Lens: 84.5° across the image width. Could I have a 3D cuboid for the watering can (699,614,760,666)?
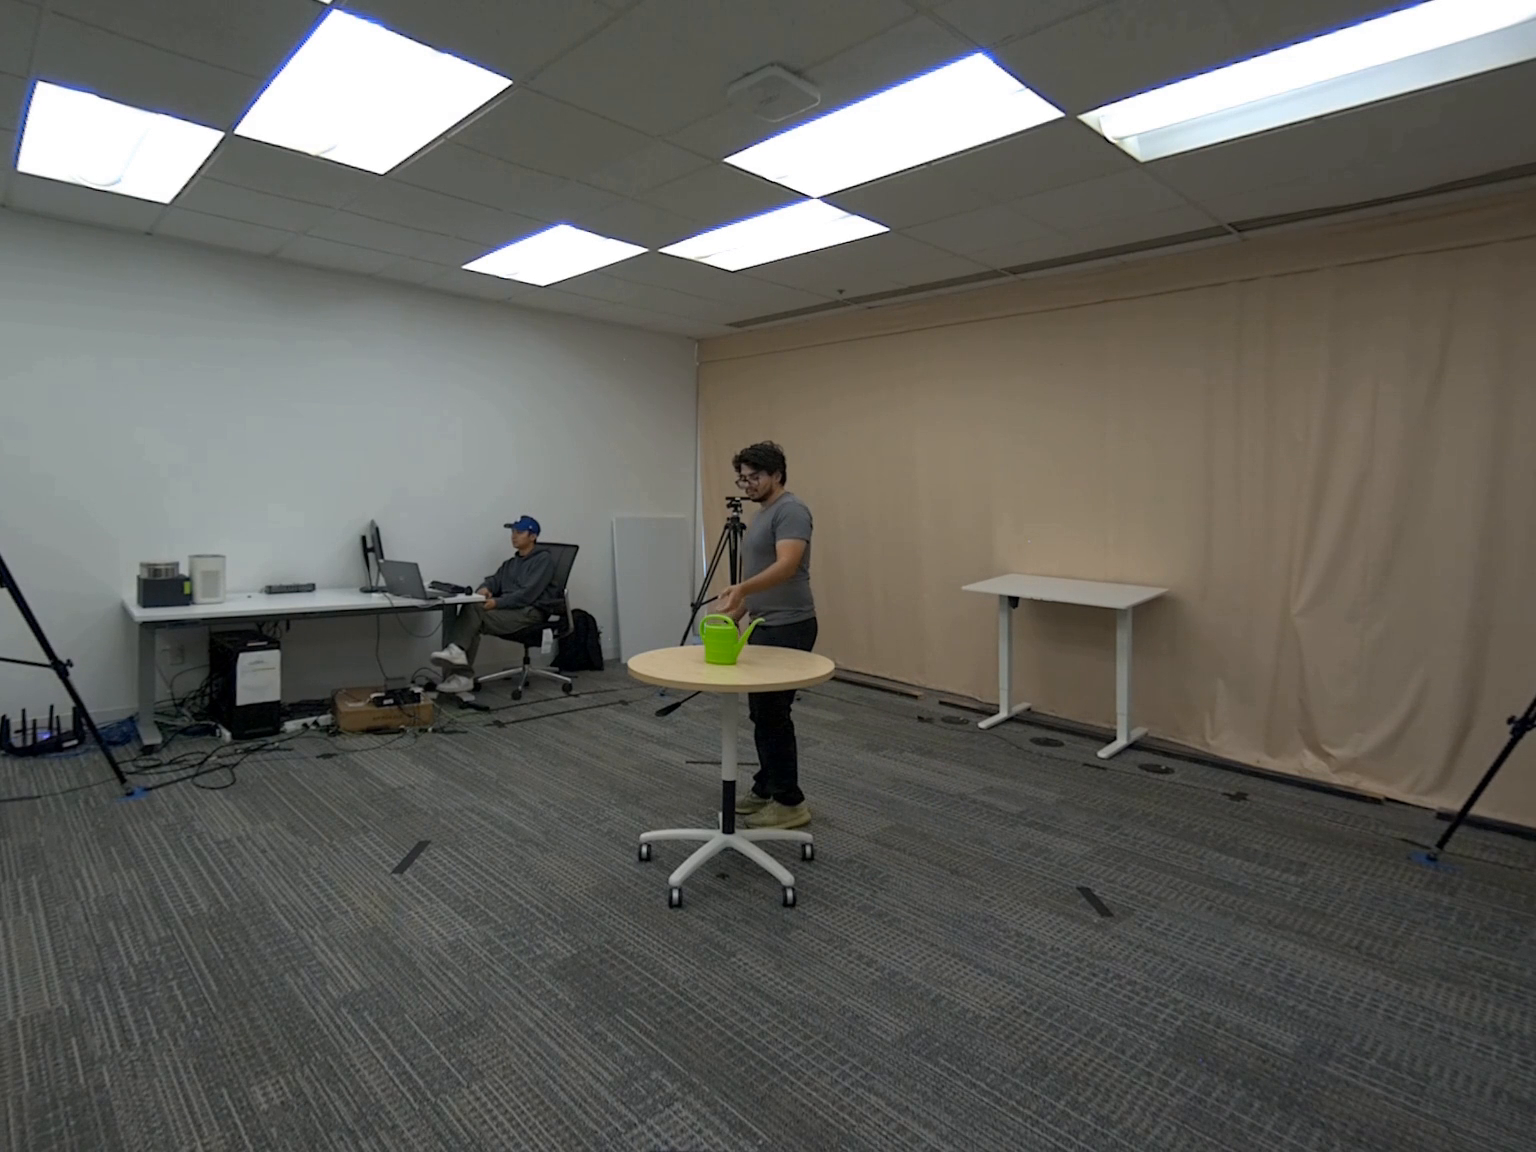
[{"bbox_3d":[-0.155,0.239,3.088,0.285,0.176,0.096,3,4,44],"label":"watering can"}]
